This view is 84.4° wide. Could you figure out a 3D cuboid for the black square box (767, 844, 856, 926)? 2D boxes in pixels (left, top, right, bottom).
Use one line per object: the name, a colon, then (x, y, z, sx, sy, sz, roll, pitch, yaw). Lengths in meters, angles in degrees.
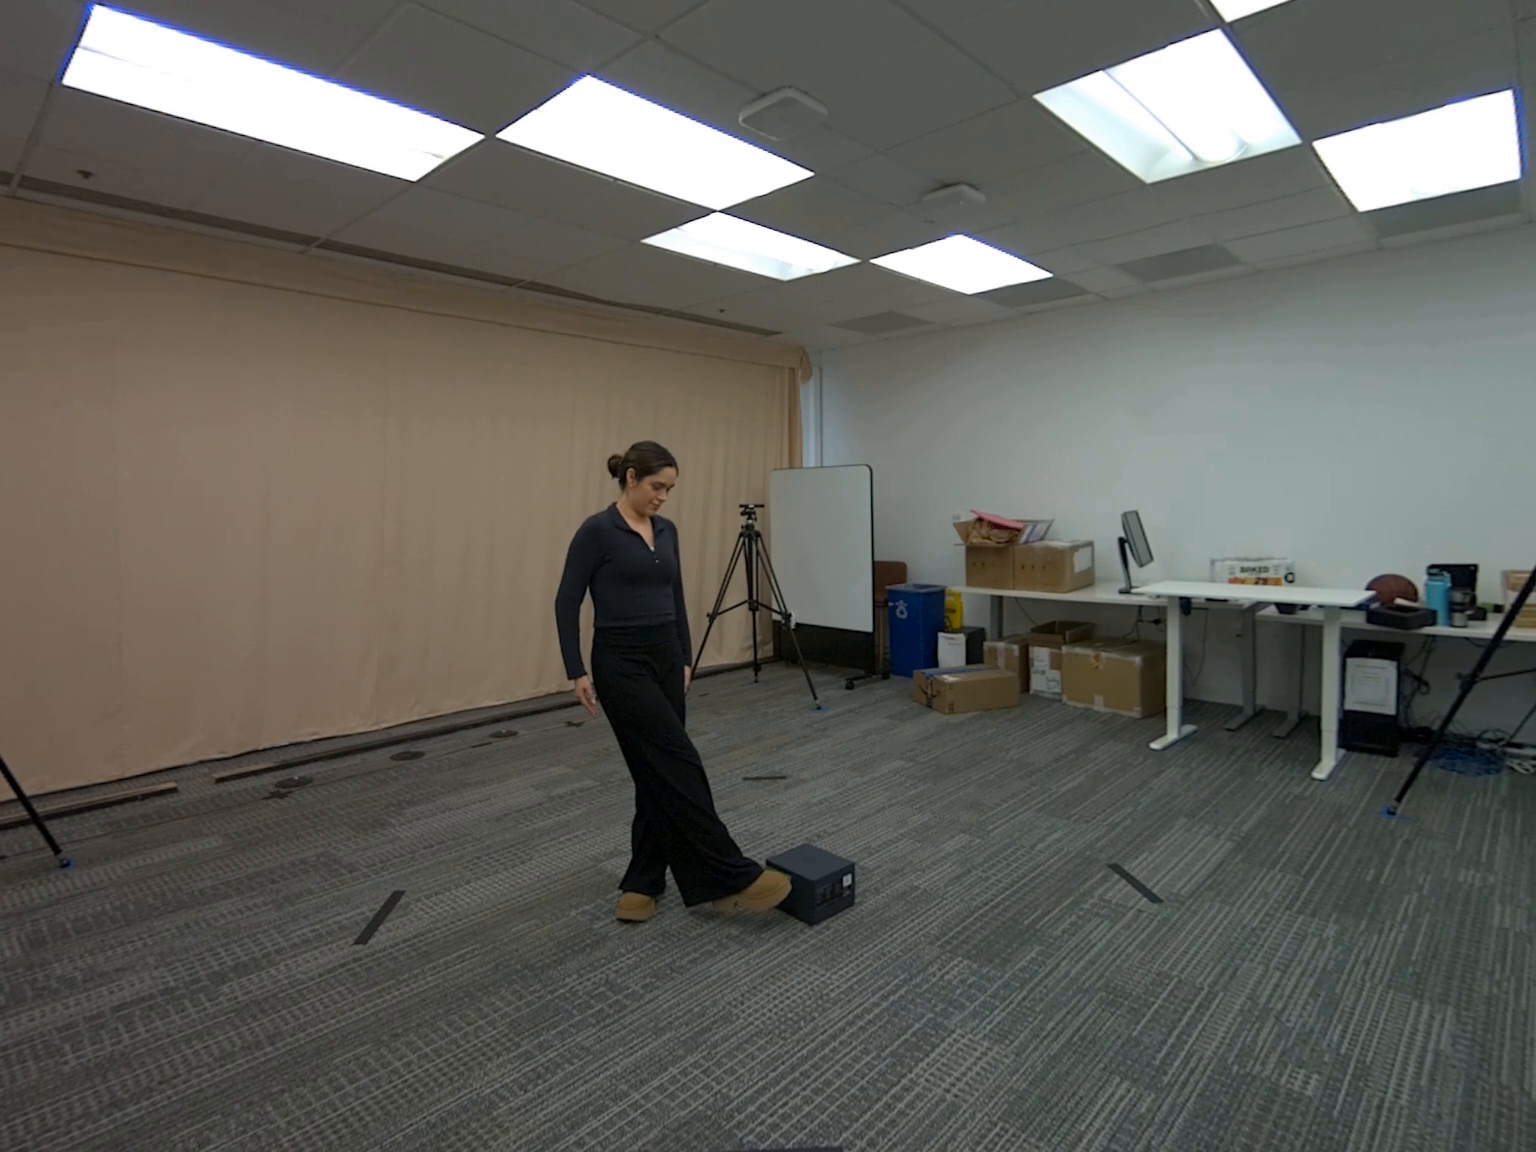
black square box: (0.148, 1.062, 2.911, 0.210, 0.155, 0.235, -5, 7, -43)
